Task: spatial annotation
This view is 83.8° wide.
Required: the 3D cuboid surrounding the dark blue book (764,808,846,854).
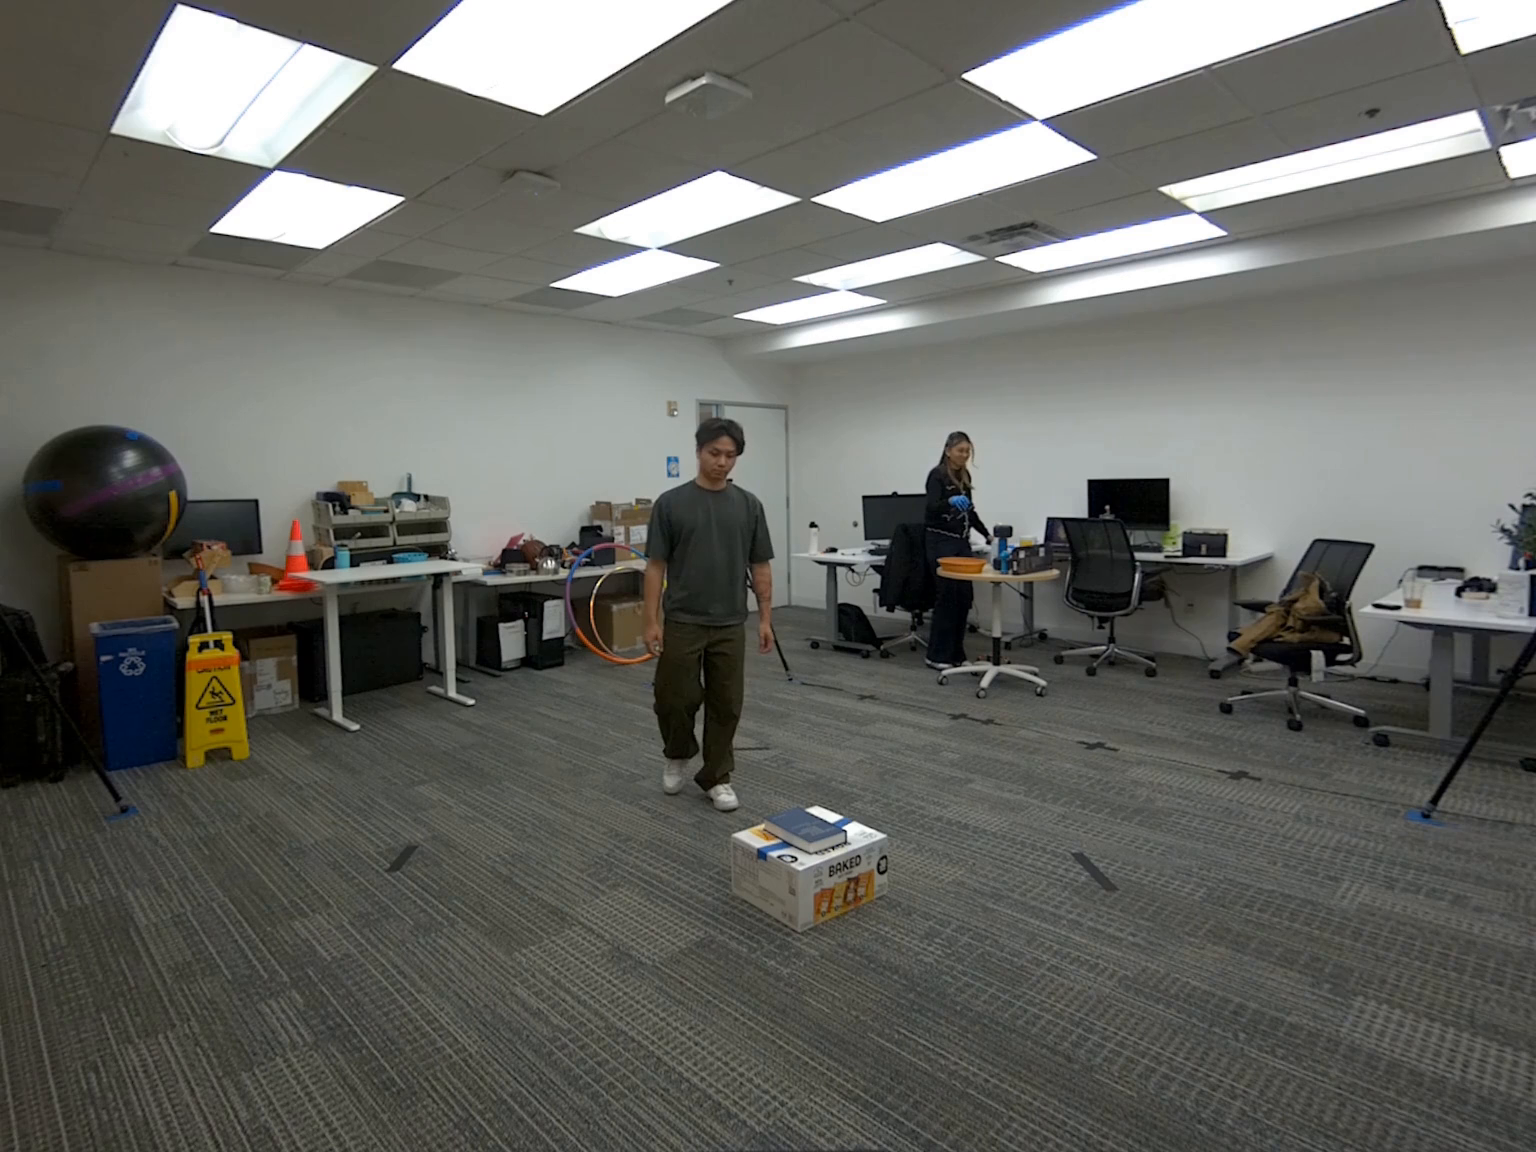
[{"bbox_3d":[0.135,0.857,2.862,0.159,0.045,0.253,-6,8,-37],"label":"dark blue book"}]
